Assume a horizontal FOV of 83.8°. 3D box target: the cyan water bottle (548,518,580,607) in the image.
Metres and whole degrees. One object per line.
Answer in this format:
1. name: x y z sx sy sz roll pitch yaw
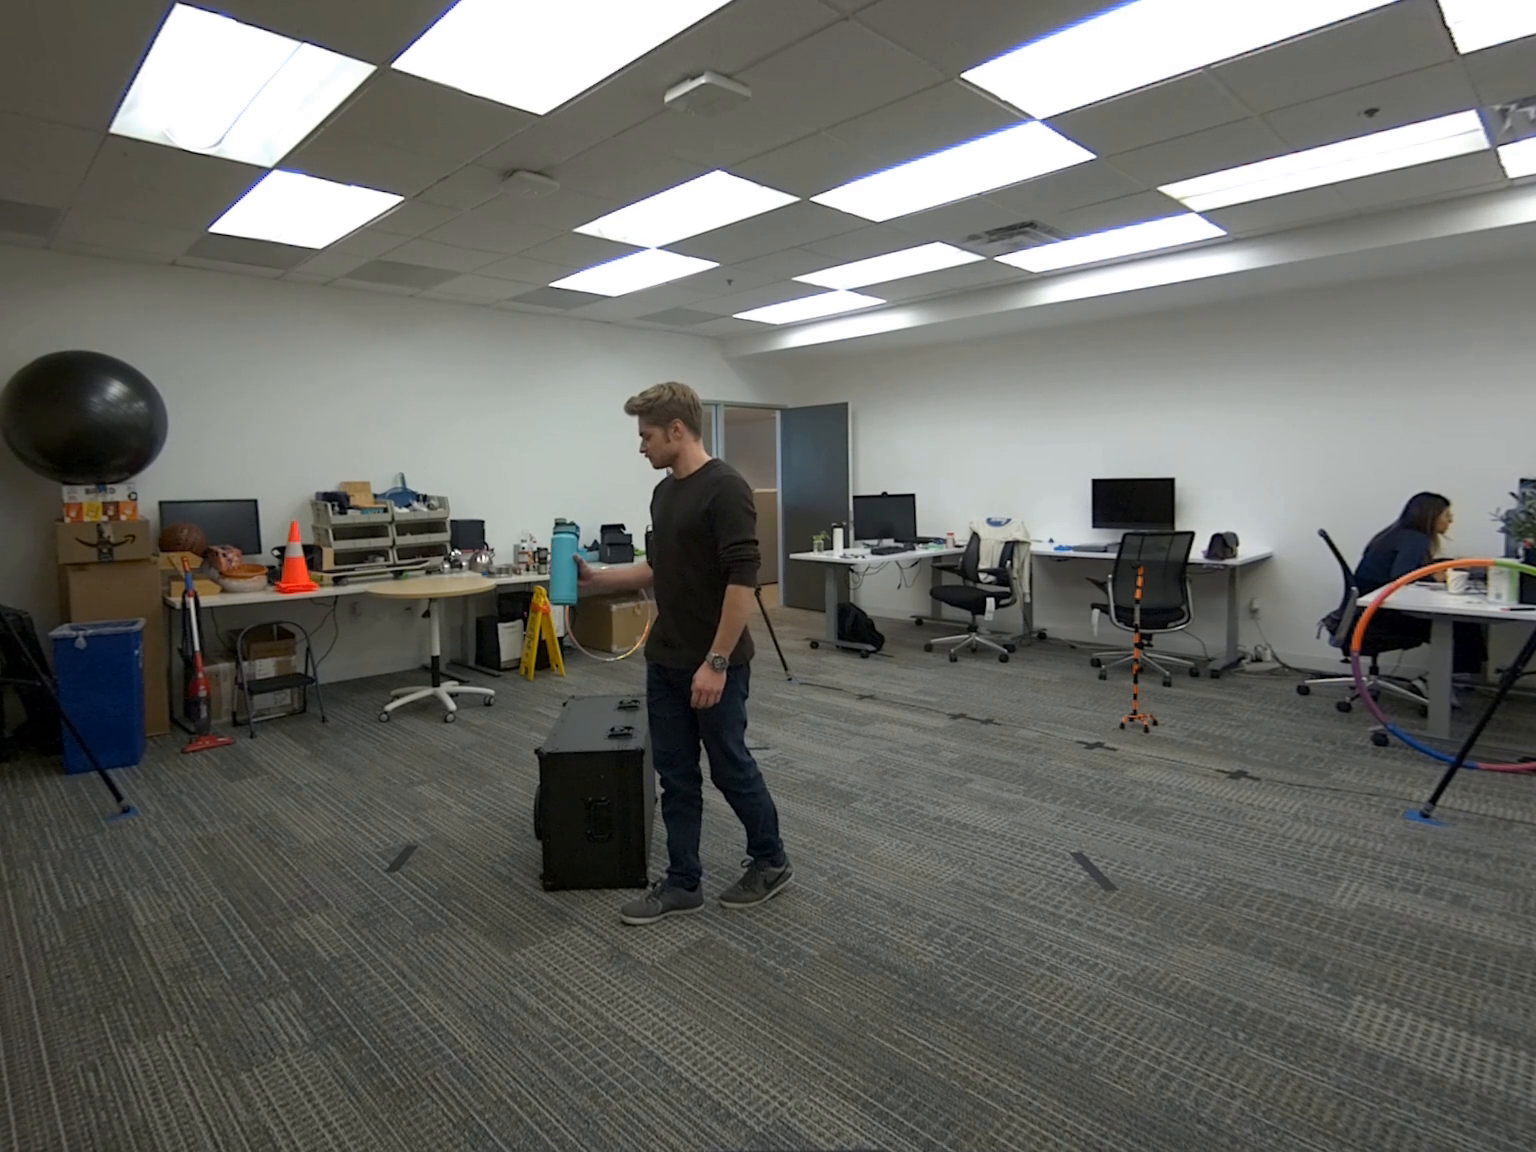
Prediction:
1. cyan water bottle: -0.659 -0.049 2.804 0.092 0.286 0.091 0 -10 -2
